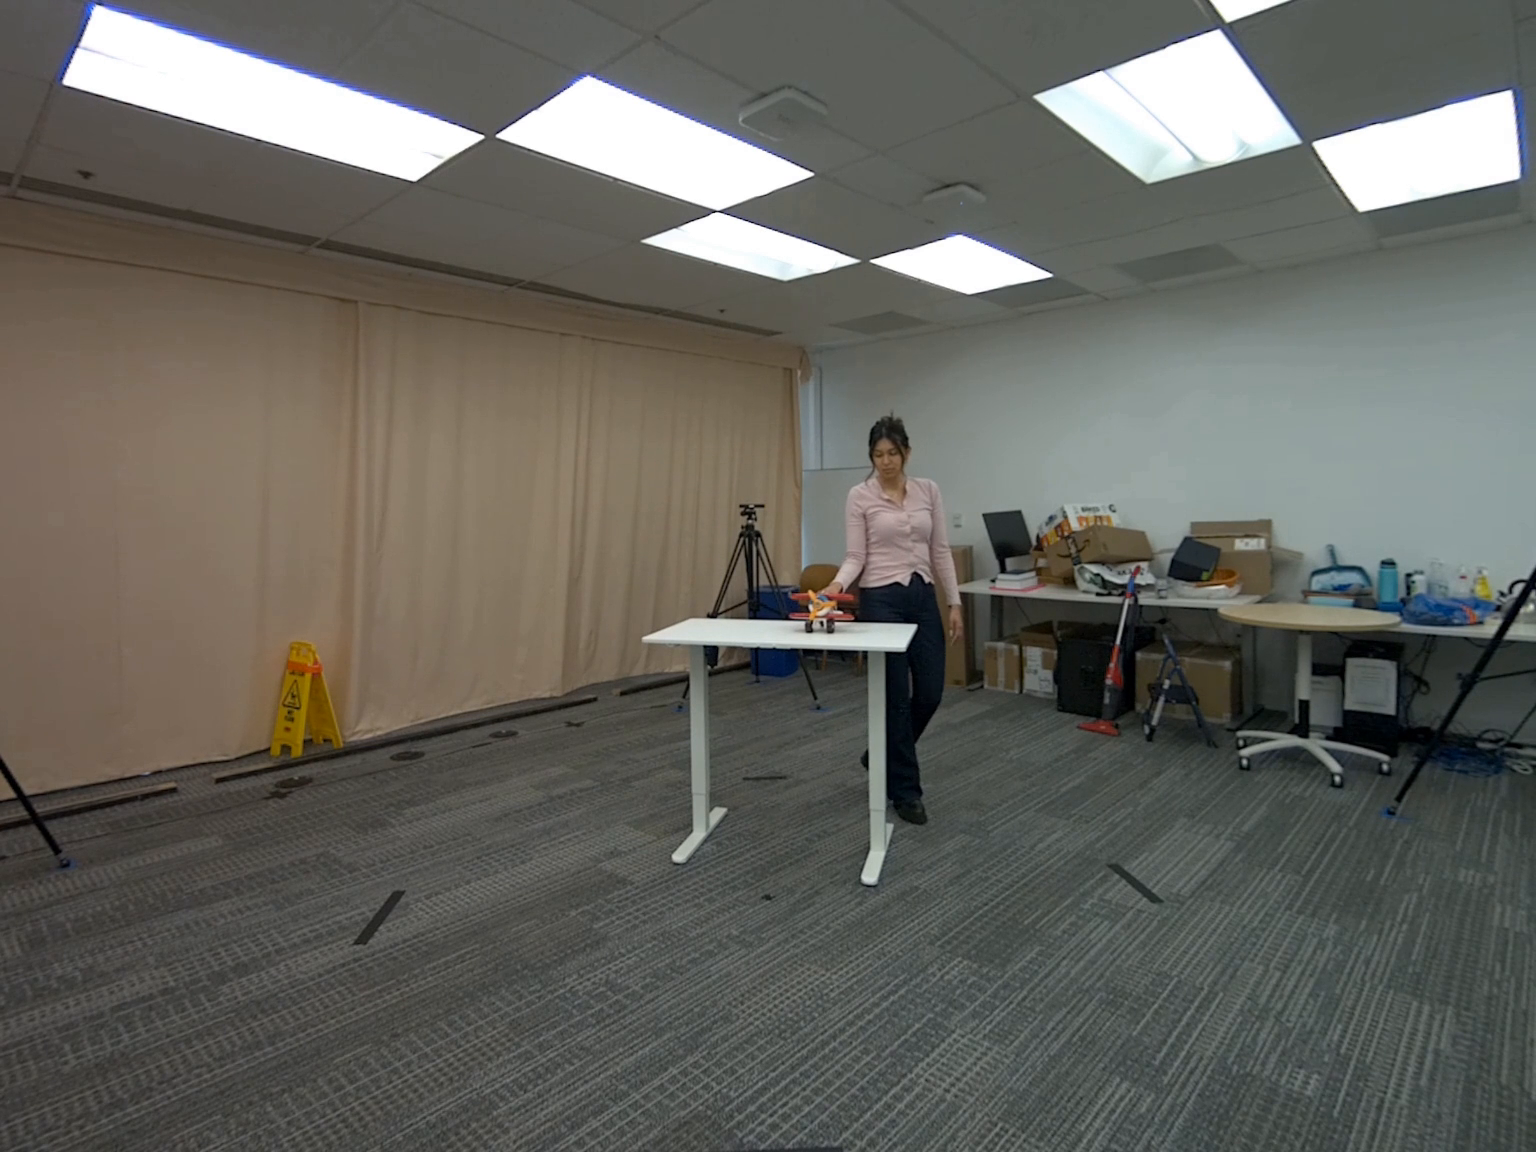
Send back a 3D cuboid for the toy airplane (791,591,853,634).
[{"bbox_3d":[0.207,0.142,3.410,0.247,0.156,0.264,-1,5,-15],"label":"toy airplane"}]
